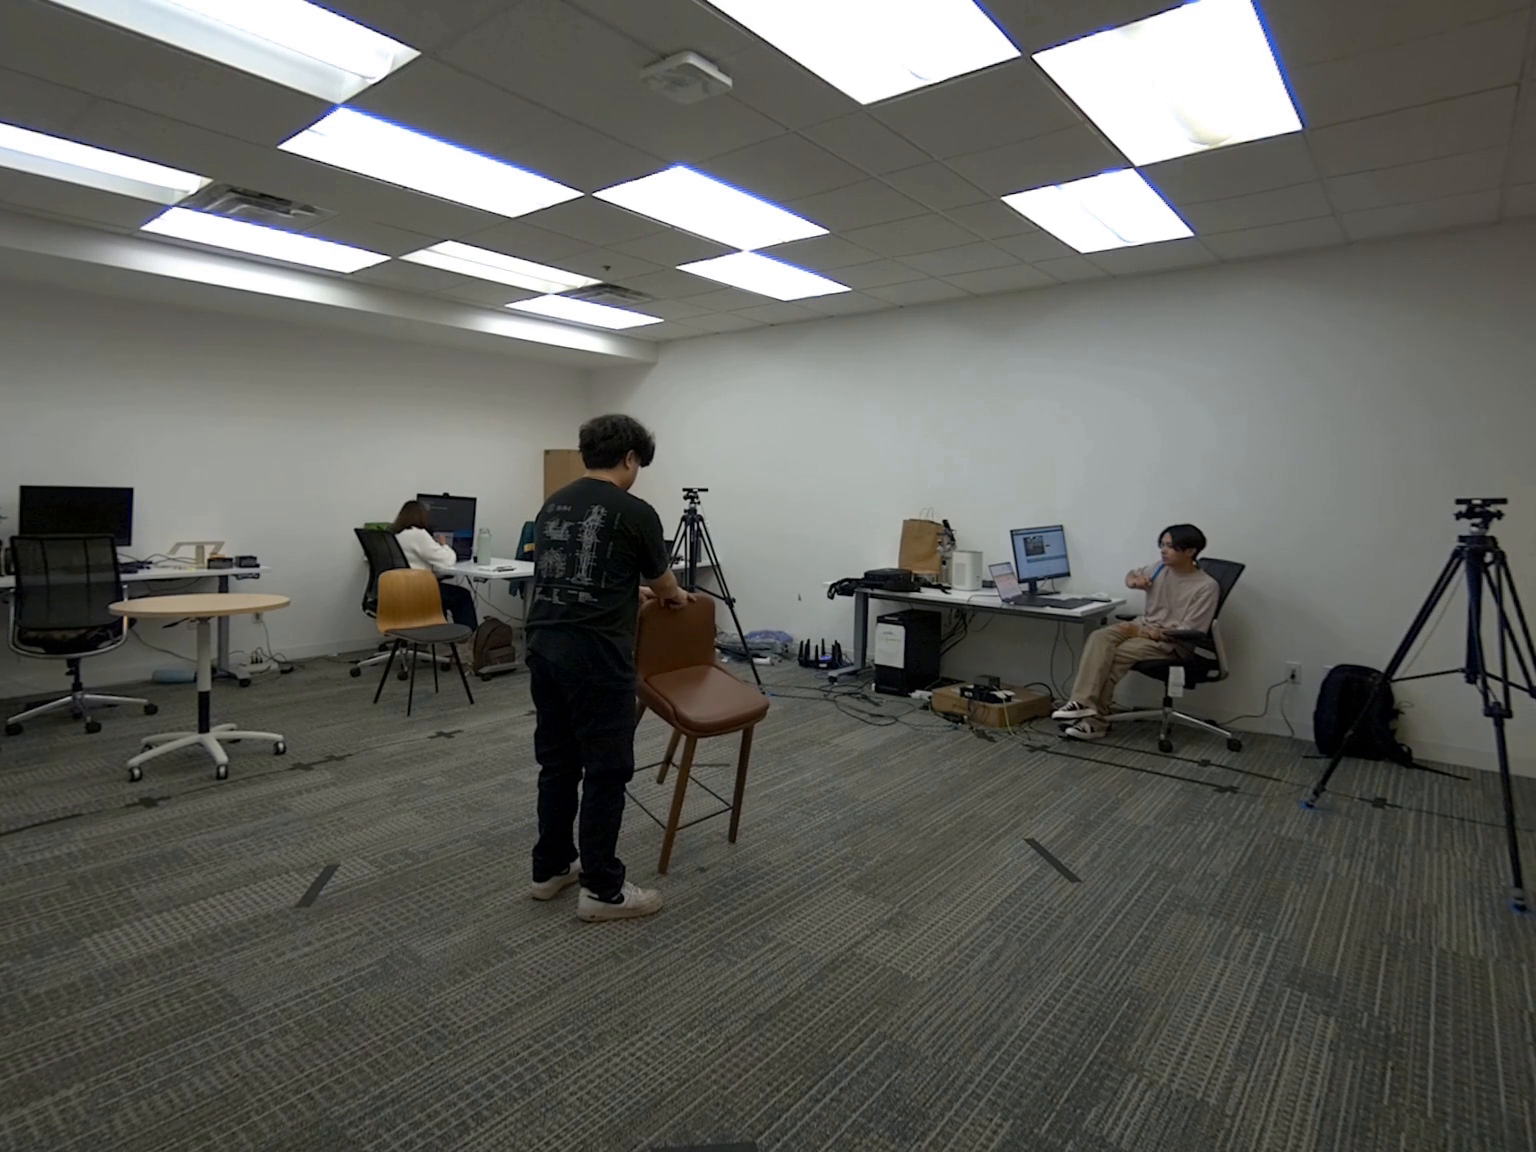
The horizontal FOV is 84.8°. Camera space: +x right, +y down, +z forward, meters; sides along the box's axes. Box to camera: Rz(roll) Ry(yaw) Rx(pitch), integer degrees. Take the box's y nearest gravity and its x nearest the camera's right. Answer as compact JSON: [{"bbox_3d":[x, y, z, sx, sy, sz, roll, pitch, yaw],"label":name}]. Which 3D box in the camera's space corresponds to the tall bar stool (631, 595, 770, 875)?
[{"bbox_3d":[-0.315,0.568,3.237,0.487,0.881,0.443,26,18,37],"label":"tall bar stool"}]
